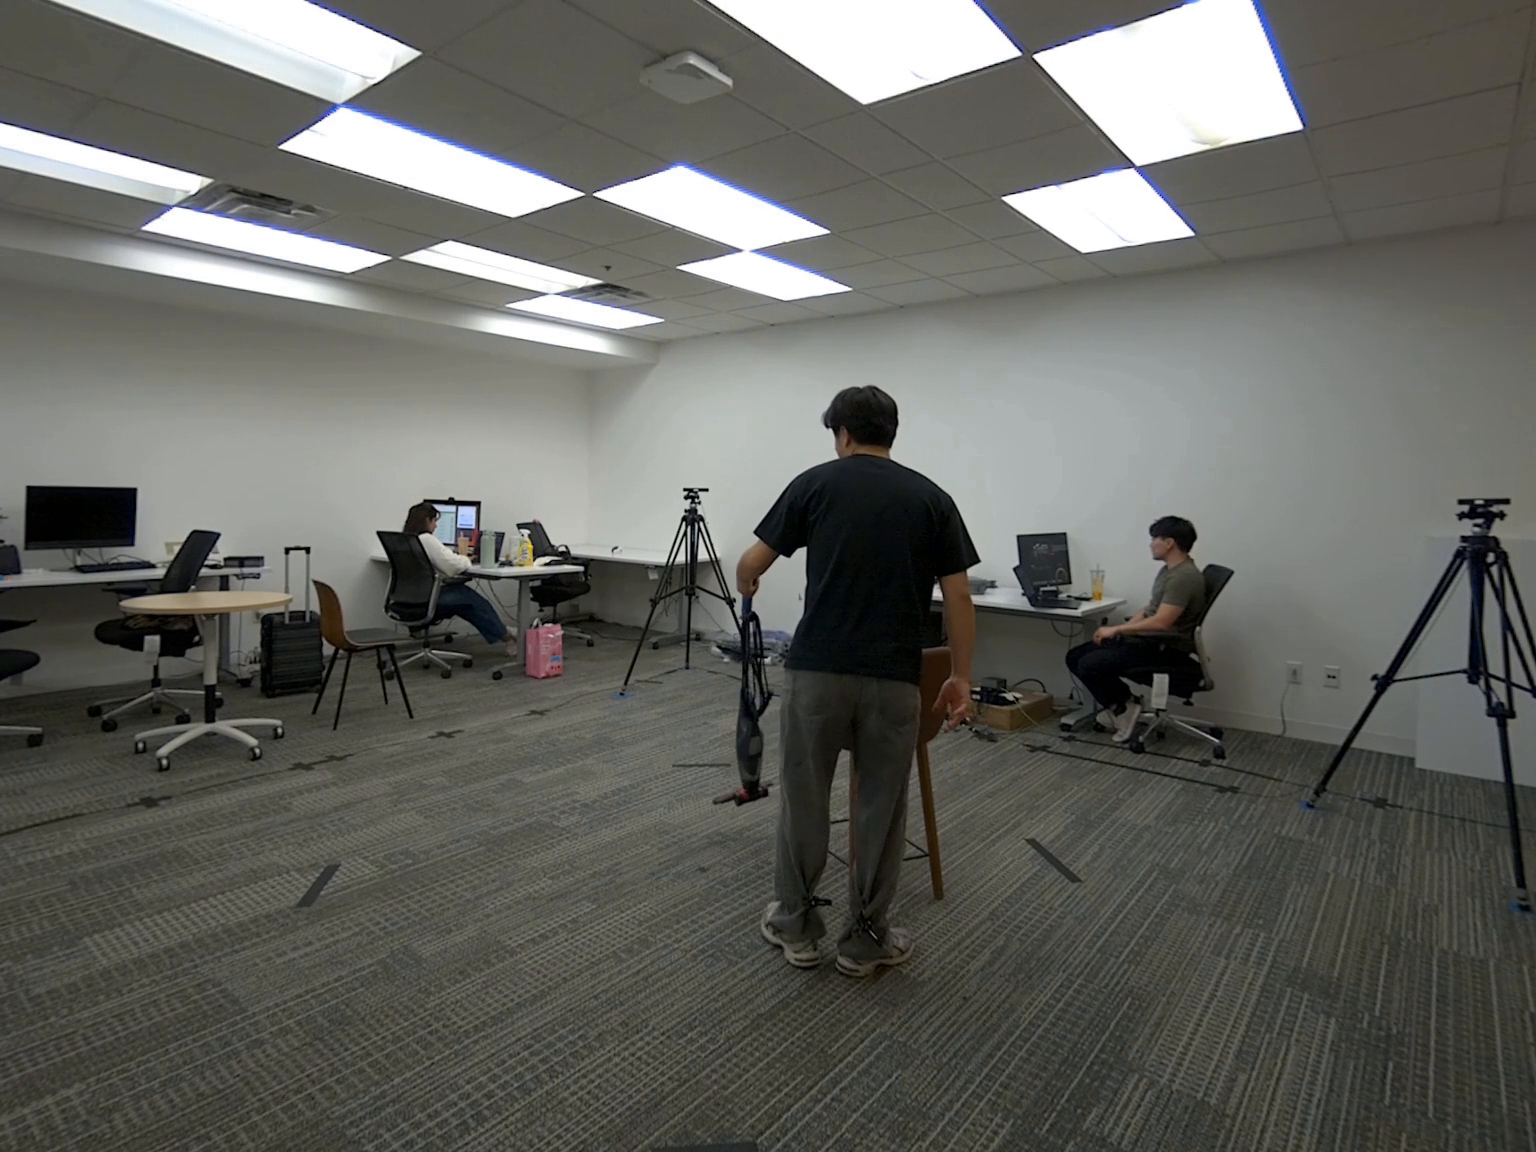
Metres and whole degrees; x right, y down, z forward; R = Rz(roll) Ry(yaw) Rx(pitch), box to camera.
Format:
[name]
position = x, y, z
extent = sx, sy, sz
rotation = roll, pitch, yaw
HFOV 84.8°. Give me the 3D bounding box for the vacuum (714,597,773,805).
[vacuum]
position = -0.084, 0.438, 3.131
extent = 0.247, 1.026, 0.150
rotation = -14, 32, -29
